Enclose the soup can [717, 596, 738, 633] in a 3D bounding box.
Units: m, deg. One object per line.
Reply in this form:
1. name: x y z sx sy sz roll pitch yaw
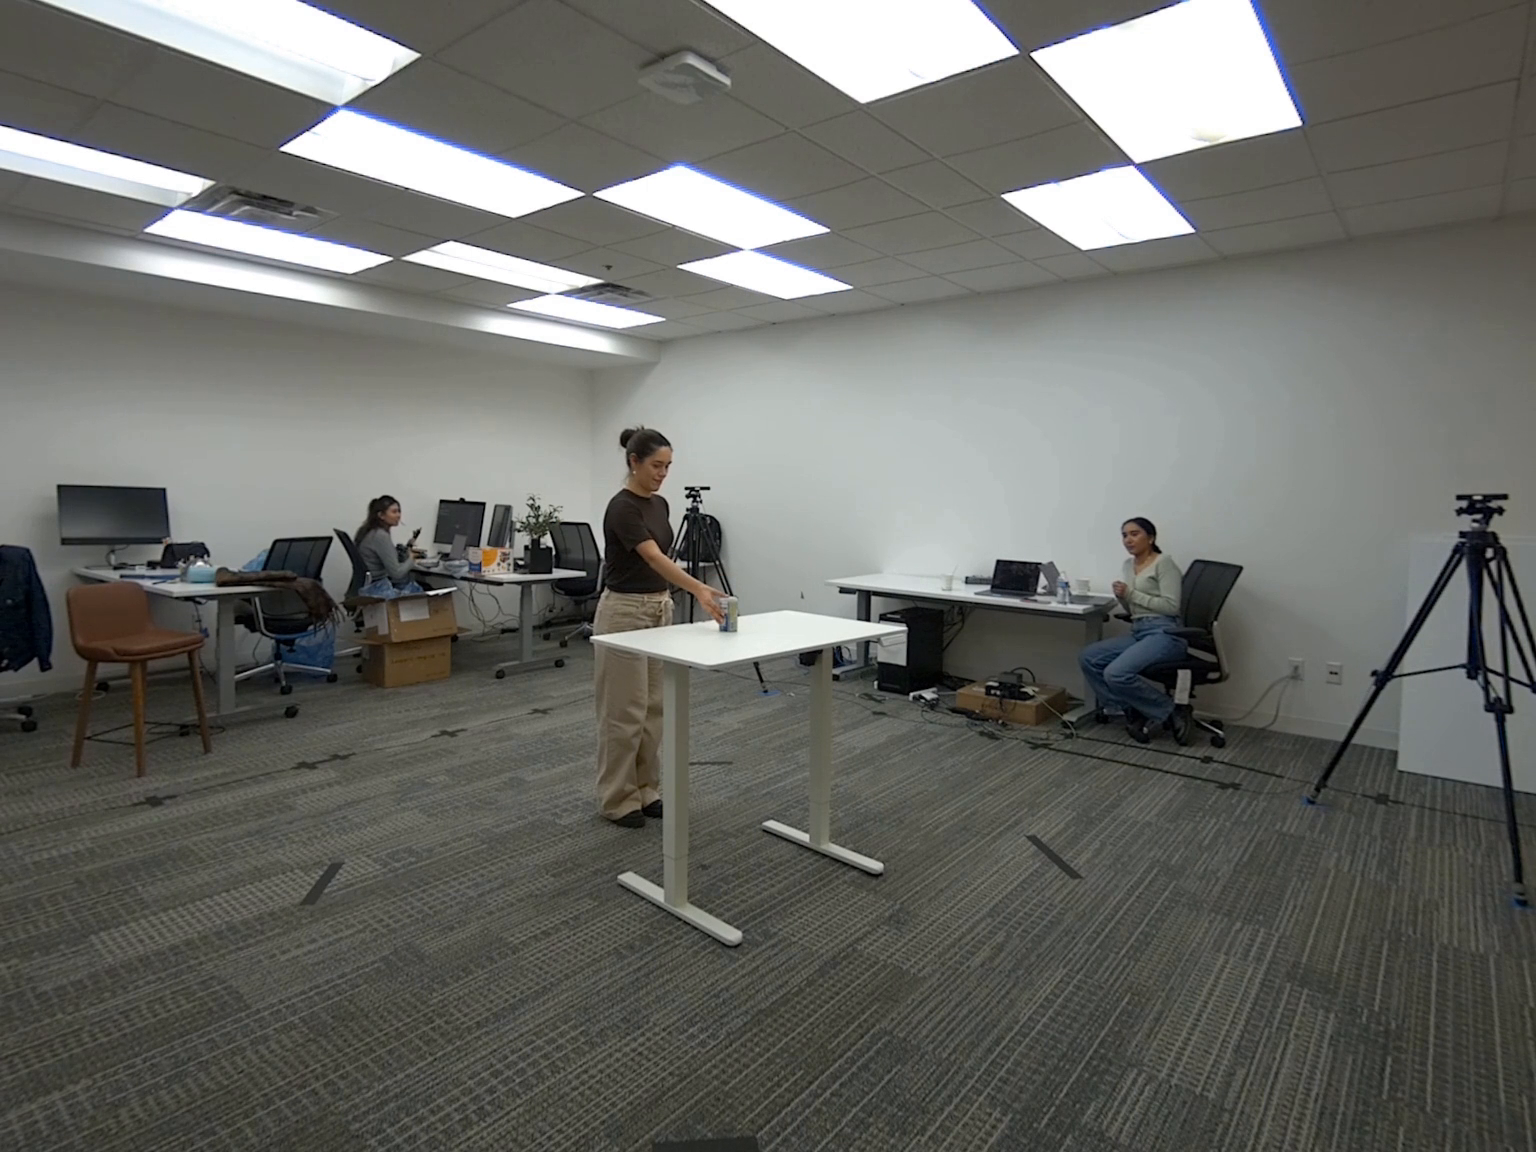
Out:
1. soup can: -0.149 0.132 3.017 0.067 0.121 0.067 1 1 -2
